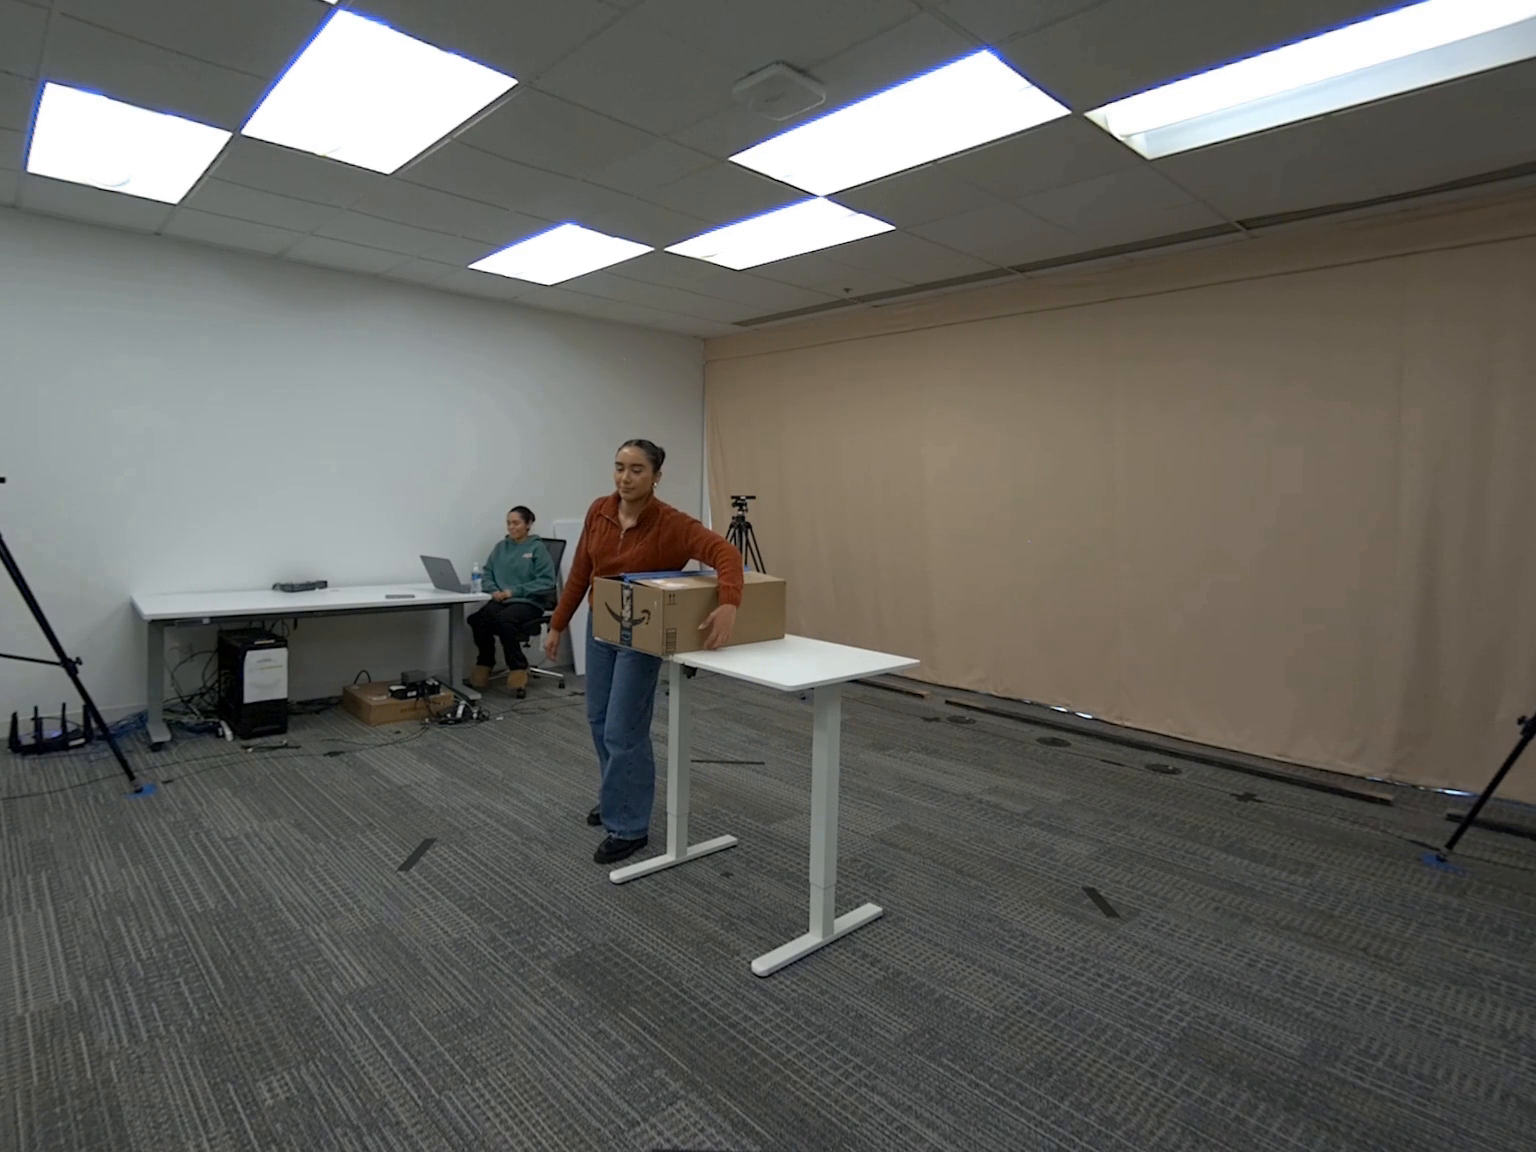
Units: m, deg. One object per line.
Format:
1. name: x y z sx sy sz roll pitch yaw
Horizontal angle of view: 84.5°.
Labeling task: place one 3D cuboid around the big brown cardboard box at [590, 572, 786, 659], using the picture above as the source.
1. big brown cardboard box: -0.289 0.118 3.022 0.575 0.232 0.428 -3 7 -44
